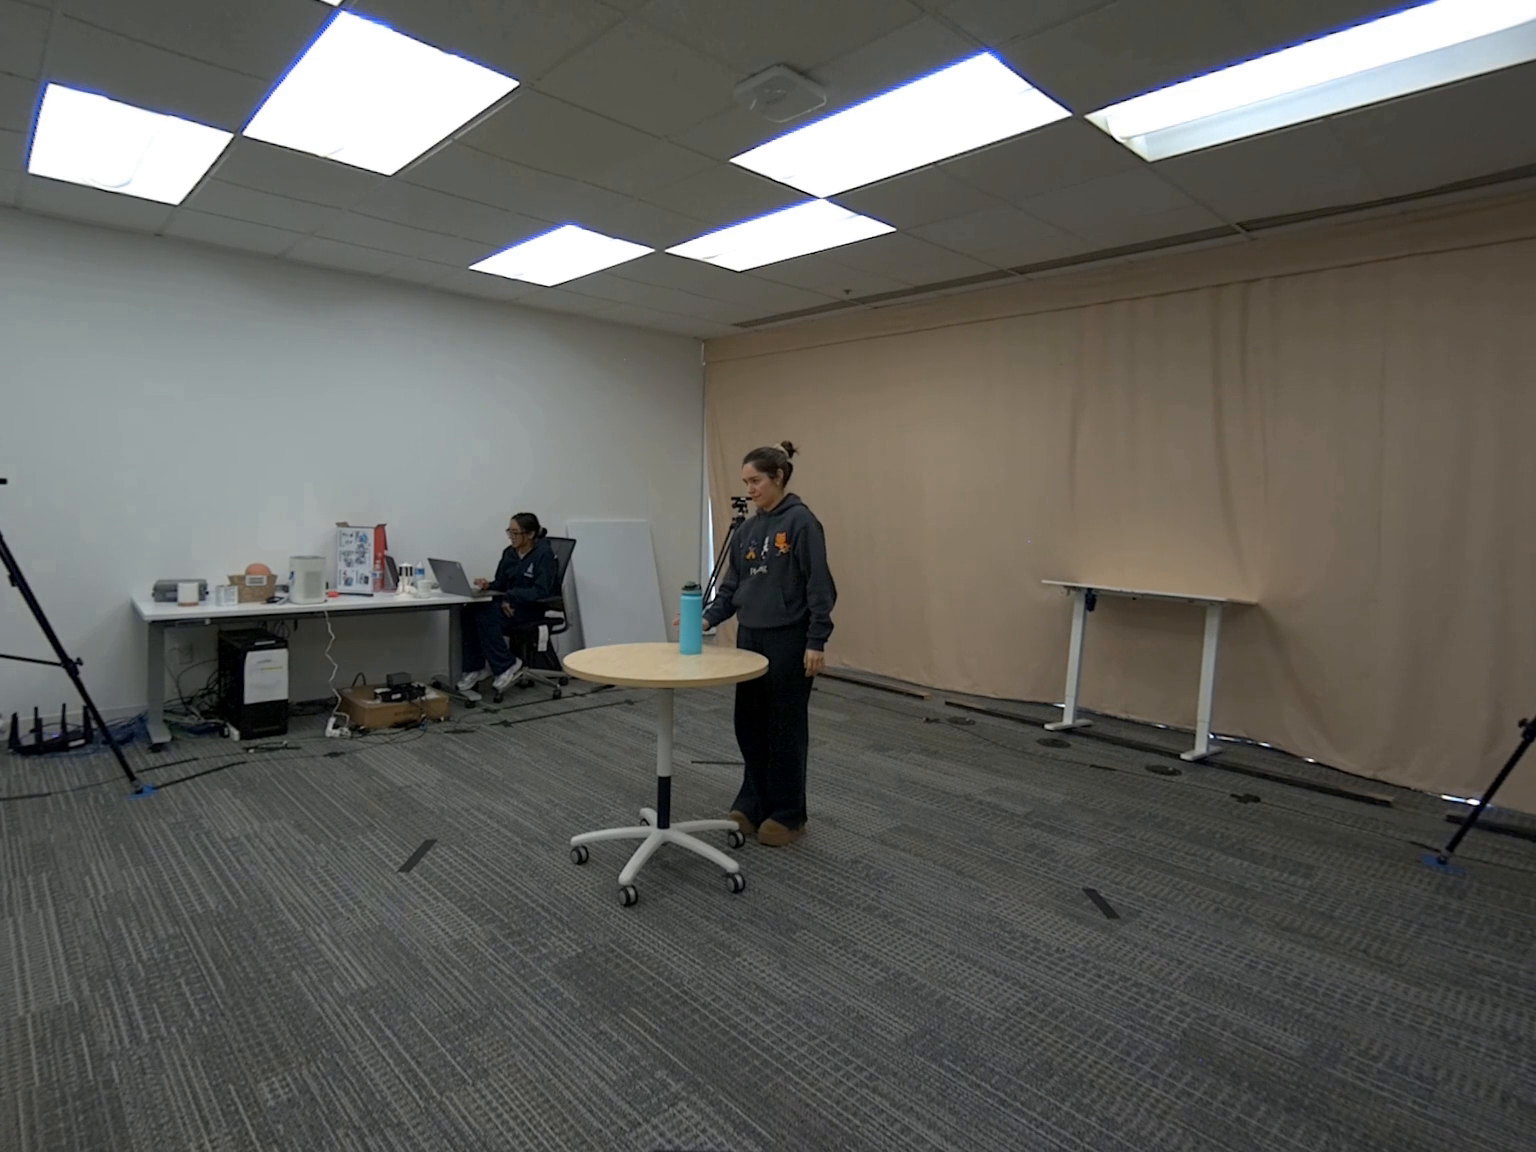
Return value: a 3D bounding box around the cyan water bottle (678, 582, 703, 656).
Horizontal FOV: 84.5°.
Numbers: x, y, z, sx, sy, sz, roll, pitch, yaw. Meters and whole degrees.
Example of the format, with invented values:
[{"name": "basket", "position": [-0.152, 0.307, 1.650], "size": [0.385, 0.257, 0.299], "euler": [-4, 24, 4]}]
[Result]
[{"name": "cyan water bottle", "position": [-0.315, 0.162, 3.313], "size": [0.092, 0.283, 0.092], "euler": [1, 0, -1]}]
